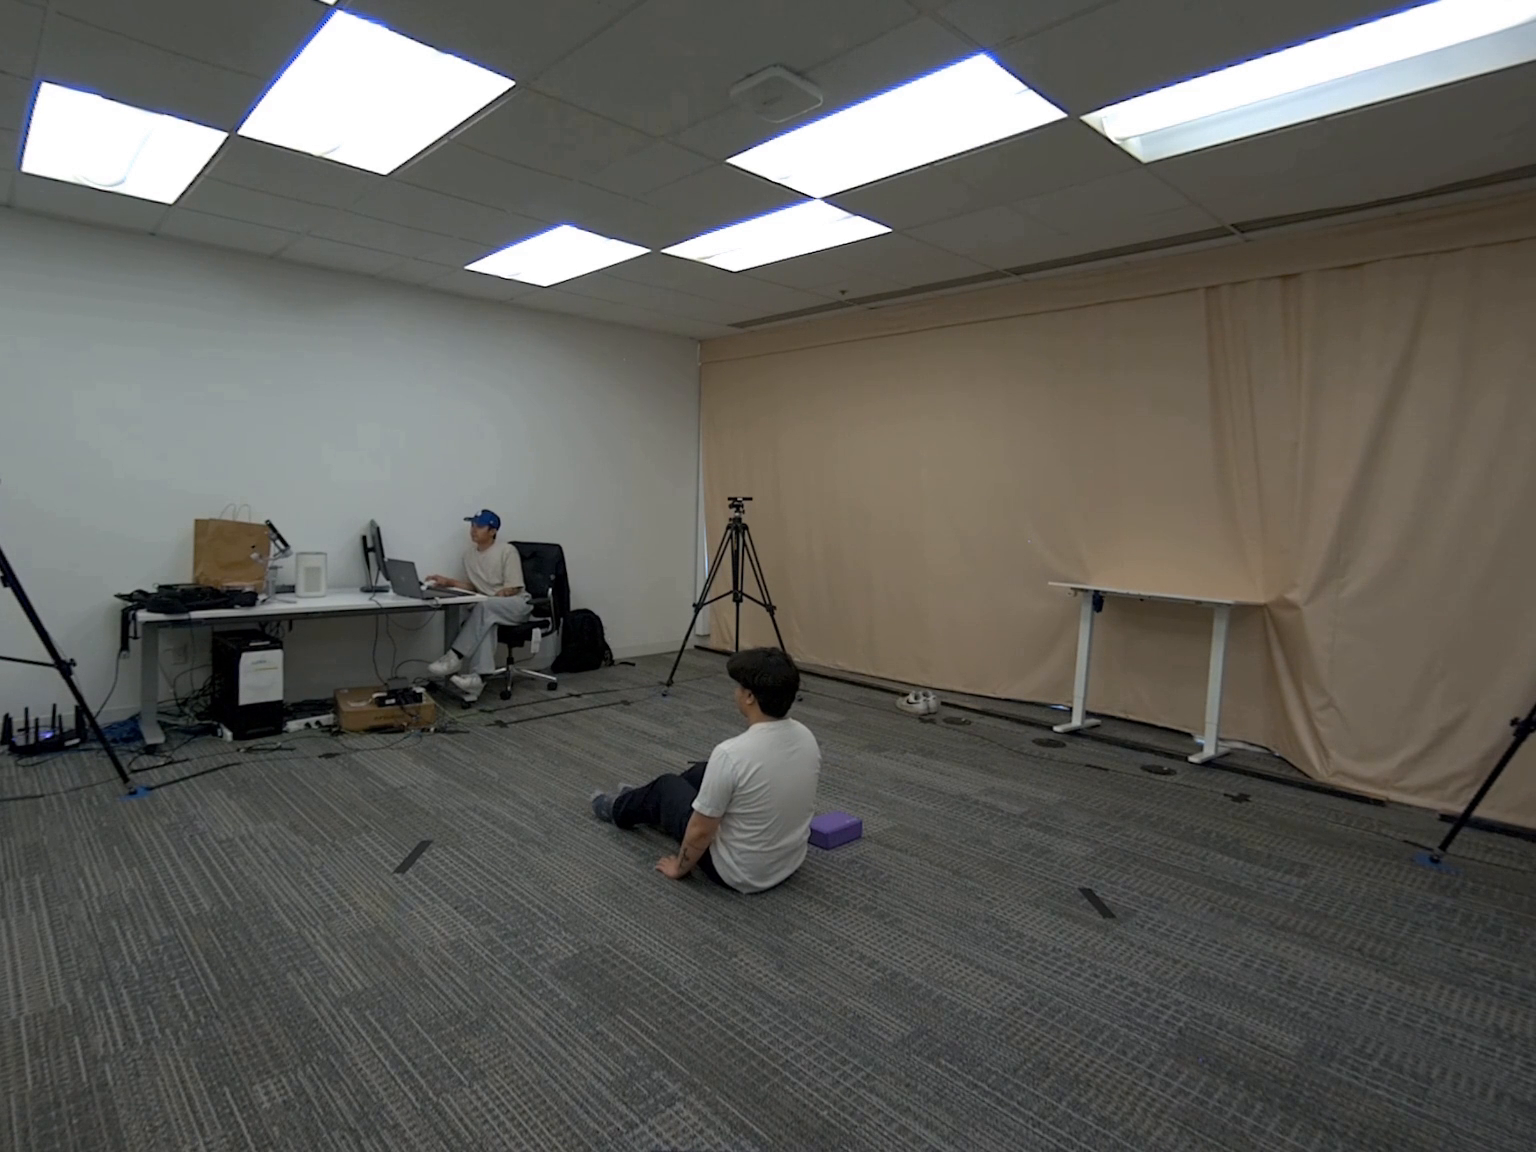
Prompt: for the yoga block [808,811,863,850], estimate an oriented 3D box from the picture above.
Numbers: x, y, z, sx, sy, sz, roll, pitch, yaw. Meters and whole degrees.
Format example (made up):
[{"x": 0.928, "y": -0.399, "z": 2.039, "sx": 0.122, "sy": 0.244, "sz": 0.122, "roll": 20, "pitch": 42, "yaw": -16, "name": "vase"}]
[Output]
[{"x": 0.252, "y": 1.044, "z": 3.477, "sx": 0.153, "sy": 0.076, "sz": 0.224, "roll": 5, "pitch": 5, "yaw": 45, "name": "yoga block"}]
